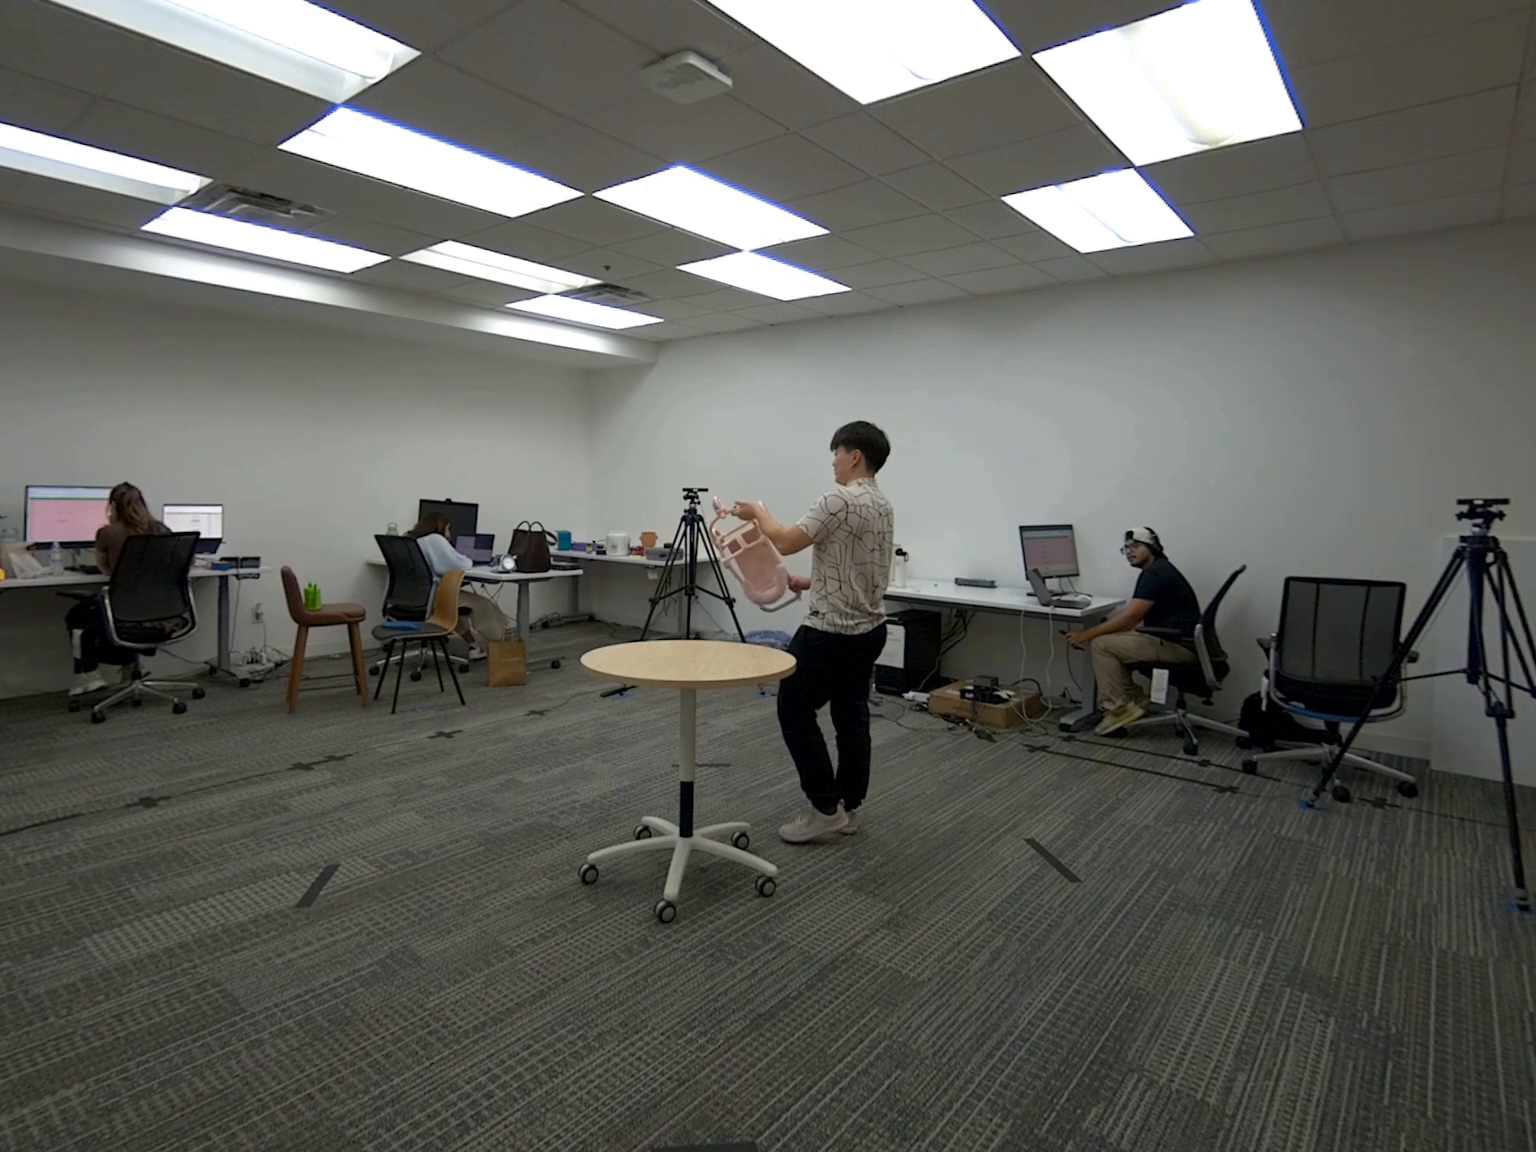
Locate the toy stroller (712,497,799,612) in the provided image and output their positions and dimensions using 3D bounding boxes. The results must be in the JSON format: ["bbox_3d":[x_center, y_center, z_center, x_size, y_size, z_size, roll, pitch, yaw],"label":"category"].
[{"bbox_3d":[-0.083,-0.103,3.696,0.282,0.543,0.335,-29,-11,7],"label":"toy stroller"}]
